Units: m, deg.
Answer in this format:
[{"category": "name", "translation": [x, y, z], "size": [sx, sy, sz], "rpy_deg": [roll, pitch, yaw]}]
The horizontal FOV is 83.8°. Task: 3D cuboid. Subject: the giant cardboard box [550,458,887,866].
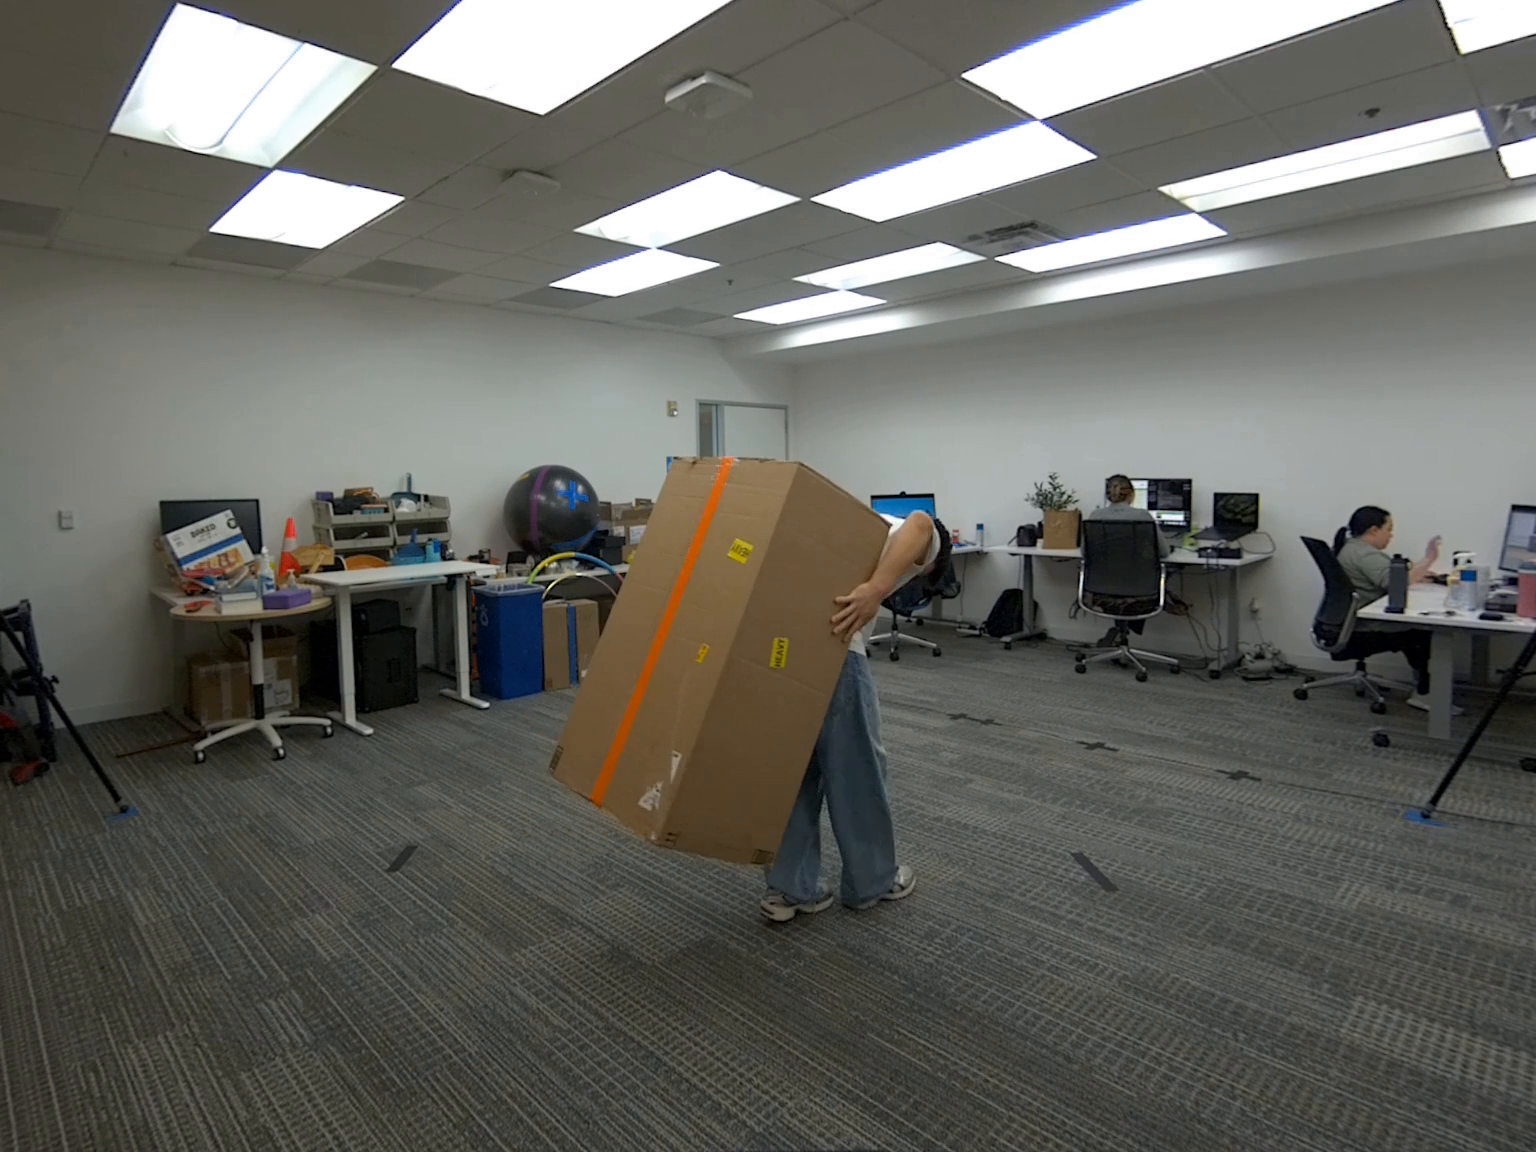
[{"category": "giant cardboard box", "translation": [-0.146, 0.210, 2.473], "size": [0.410, 1.031, 0.596], "rpy_deg": [28, -13, -40]}]
